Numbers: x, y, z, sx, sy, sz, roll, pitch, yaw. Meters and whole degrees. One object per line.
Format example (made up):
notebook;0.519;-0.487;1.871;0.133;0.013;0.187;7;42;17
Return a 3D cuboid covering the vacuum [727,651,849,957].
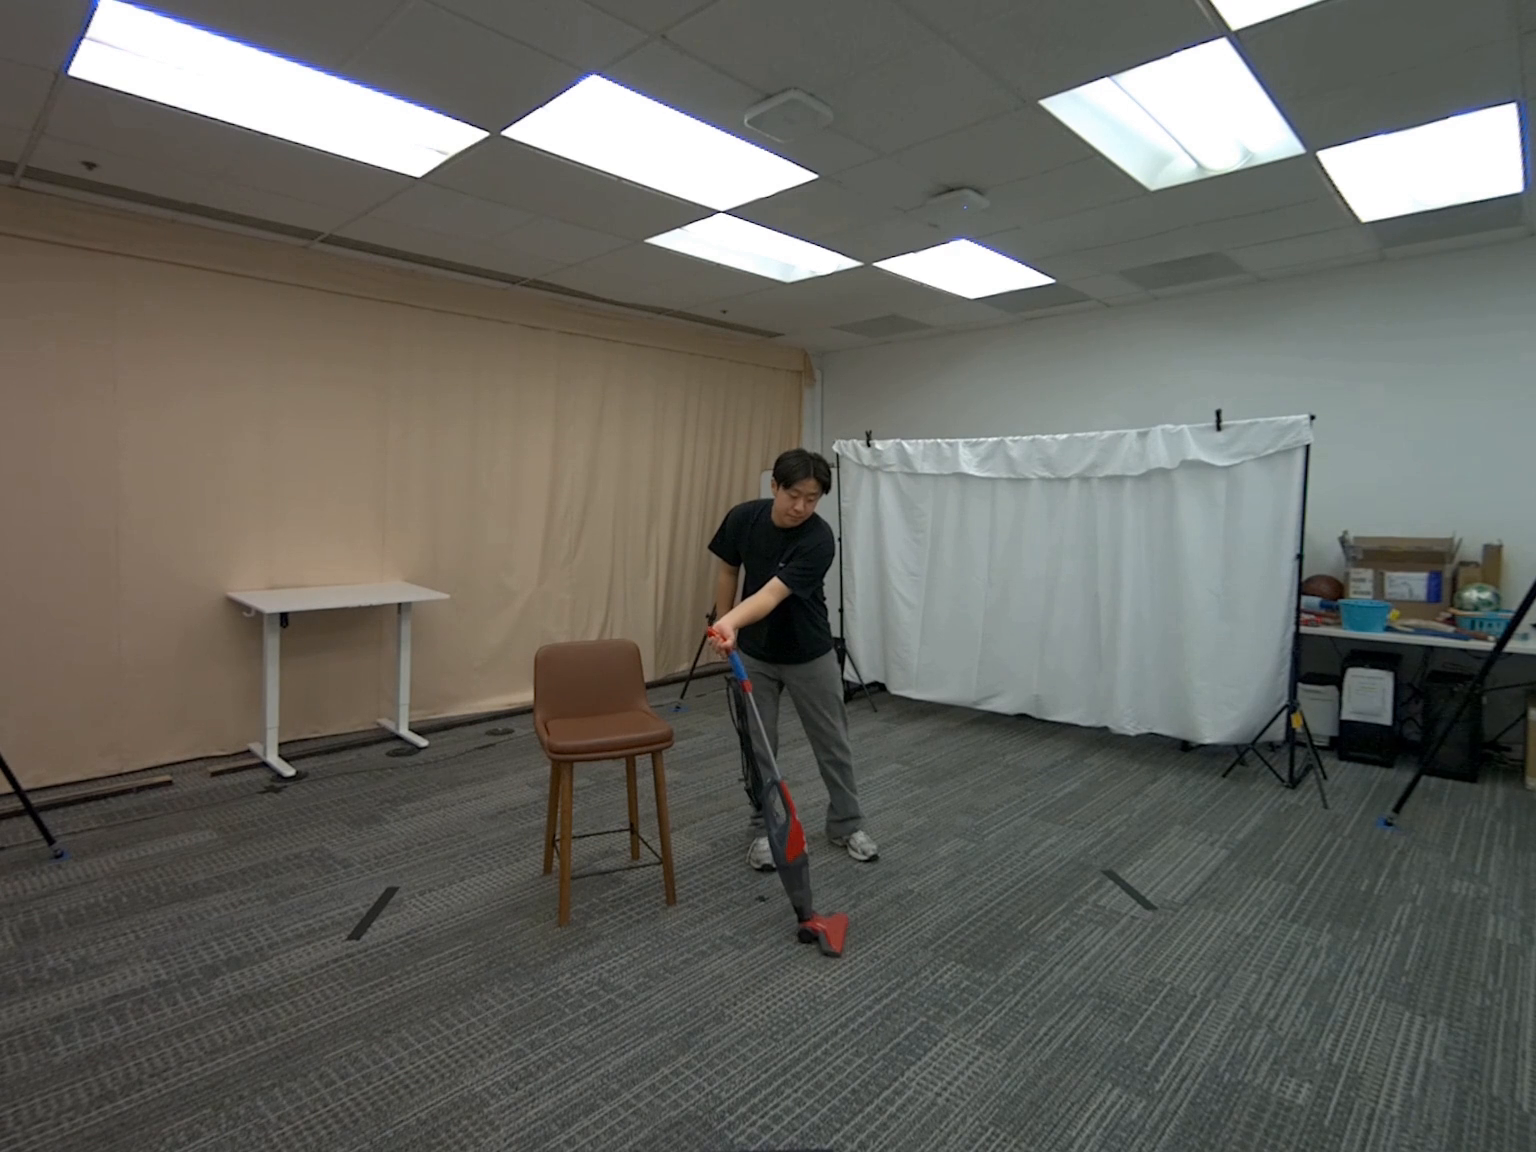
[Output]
vacuum;0.006;0.675;2.737;0.146;1.051;0.249;-20;-1;17
